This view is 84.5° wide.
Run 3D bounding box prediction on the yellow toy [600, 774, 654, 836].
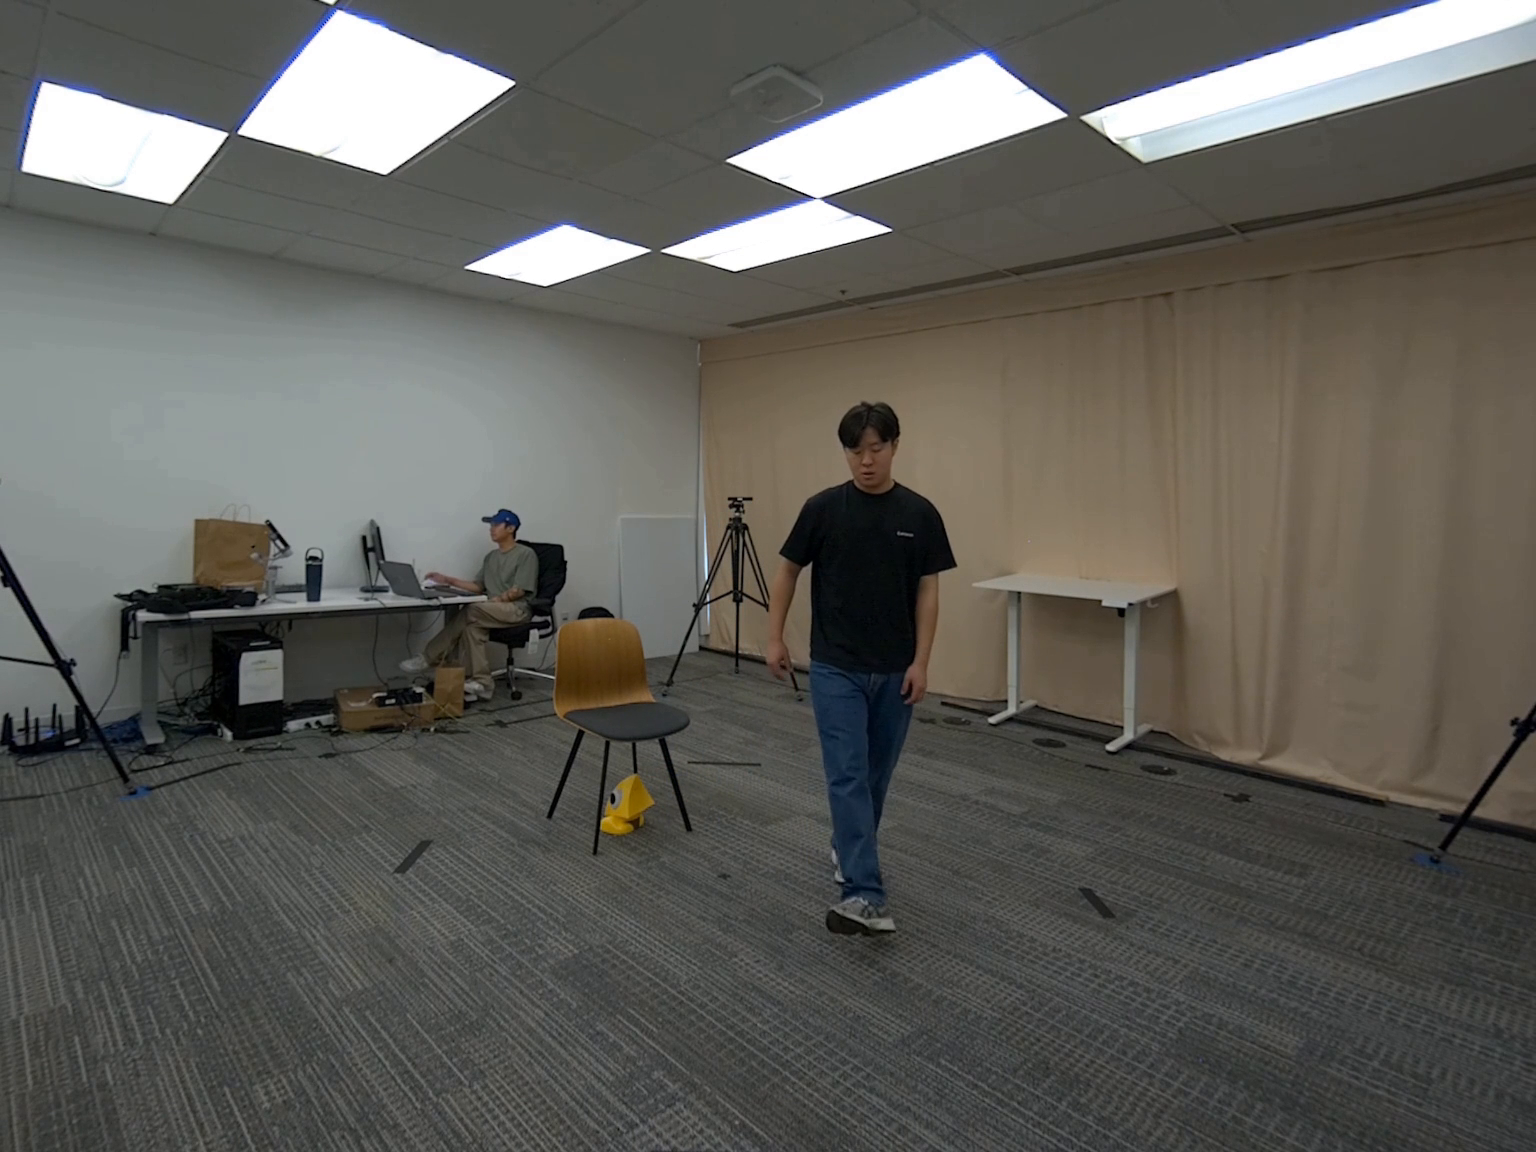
[{"bbox_3d":[-0.619,0.945,3.563,0.197,0.230,0.201,5,4,25],"label":"yellow toy"}]
